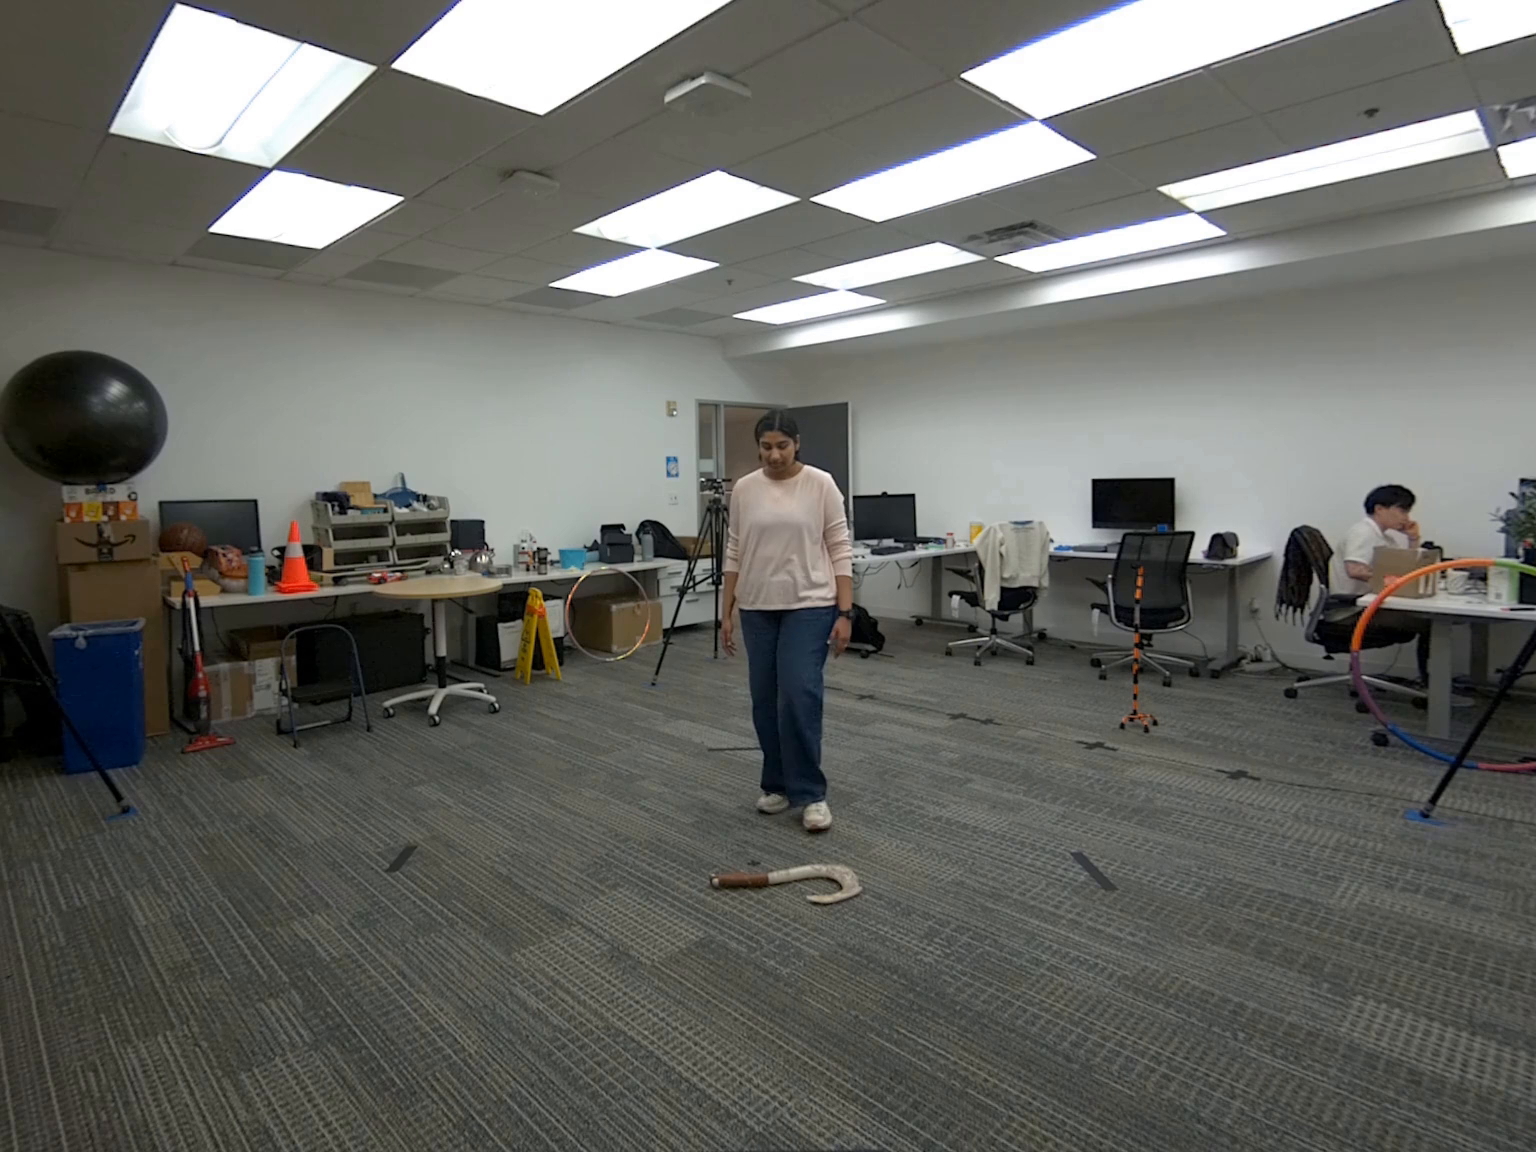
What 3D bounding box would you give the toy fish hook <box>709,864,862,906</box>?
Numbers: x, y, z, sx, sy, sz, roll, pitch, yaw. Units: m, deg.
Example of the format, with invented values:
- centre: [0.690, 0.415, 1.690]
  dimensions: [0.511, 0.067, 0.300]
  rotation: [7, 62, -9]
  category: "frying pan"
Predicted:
- centre: [0.060, 1.043, 2.887]
  dimensions: [0.504, 0.048, 0.226]
  rotation: [-2, 4, -5]
  category: "toy fish hook"
